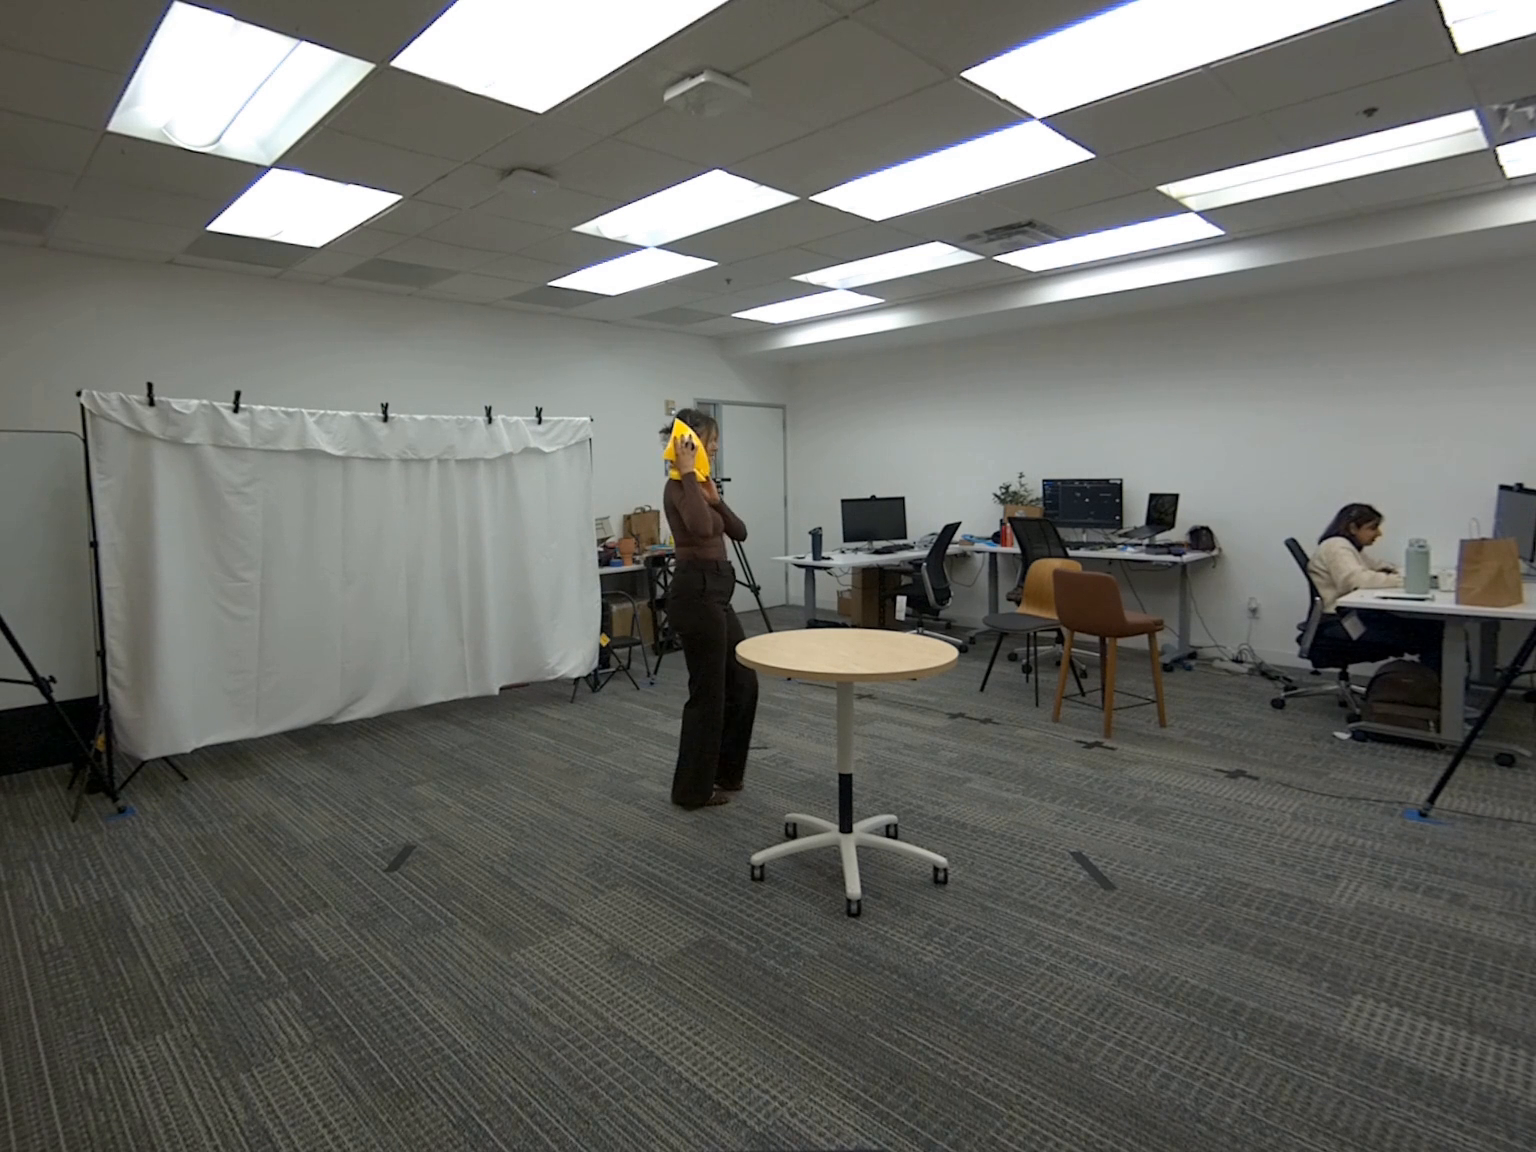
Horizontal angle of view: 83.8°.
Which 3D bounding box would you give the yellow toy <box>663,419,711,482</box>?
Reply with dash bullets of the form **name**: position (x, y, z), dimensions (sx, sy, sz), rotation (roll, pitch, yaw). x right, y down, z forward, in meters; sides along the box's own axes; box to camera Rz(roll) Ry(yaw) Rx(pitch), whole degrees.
- **yellow toy**: position (-0.328, -0.518, 3.474), dimensions (0.194, 0.228, 0.206), rotation (8, 15, 3)
